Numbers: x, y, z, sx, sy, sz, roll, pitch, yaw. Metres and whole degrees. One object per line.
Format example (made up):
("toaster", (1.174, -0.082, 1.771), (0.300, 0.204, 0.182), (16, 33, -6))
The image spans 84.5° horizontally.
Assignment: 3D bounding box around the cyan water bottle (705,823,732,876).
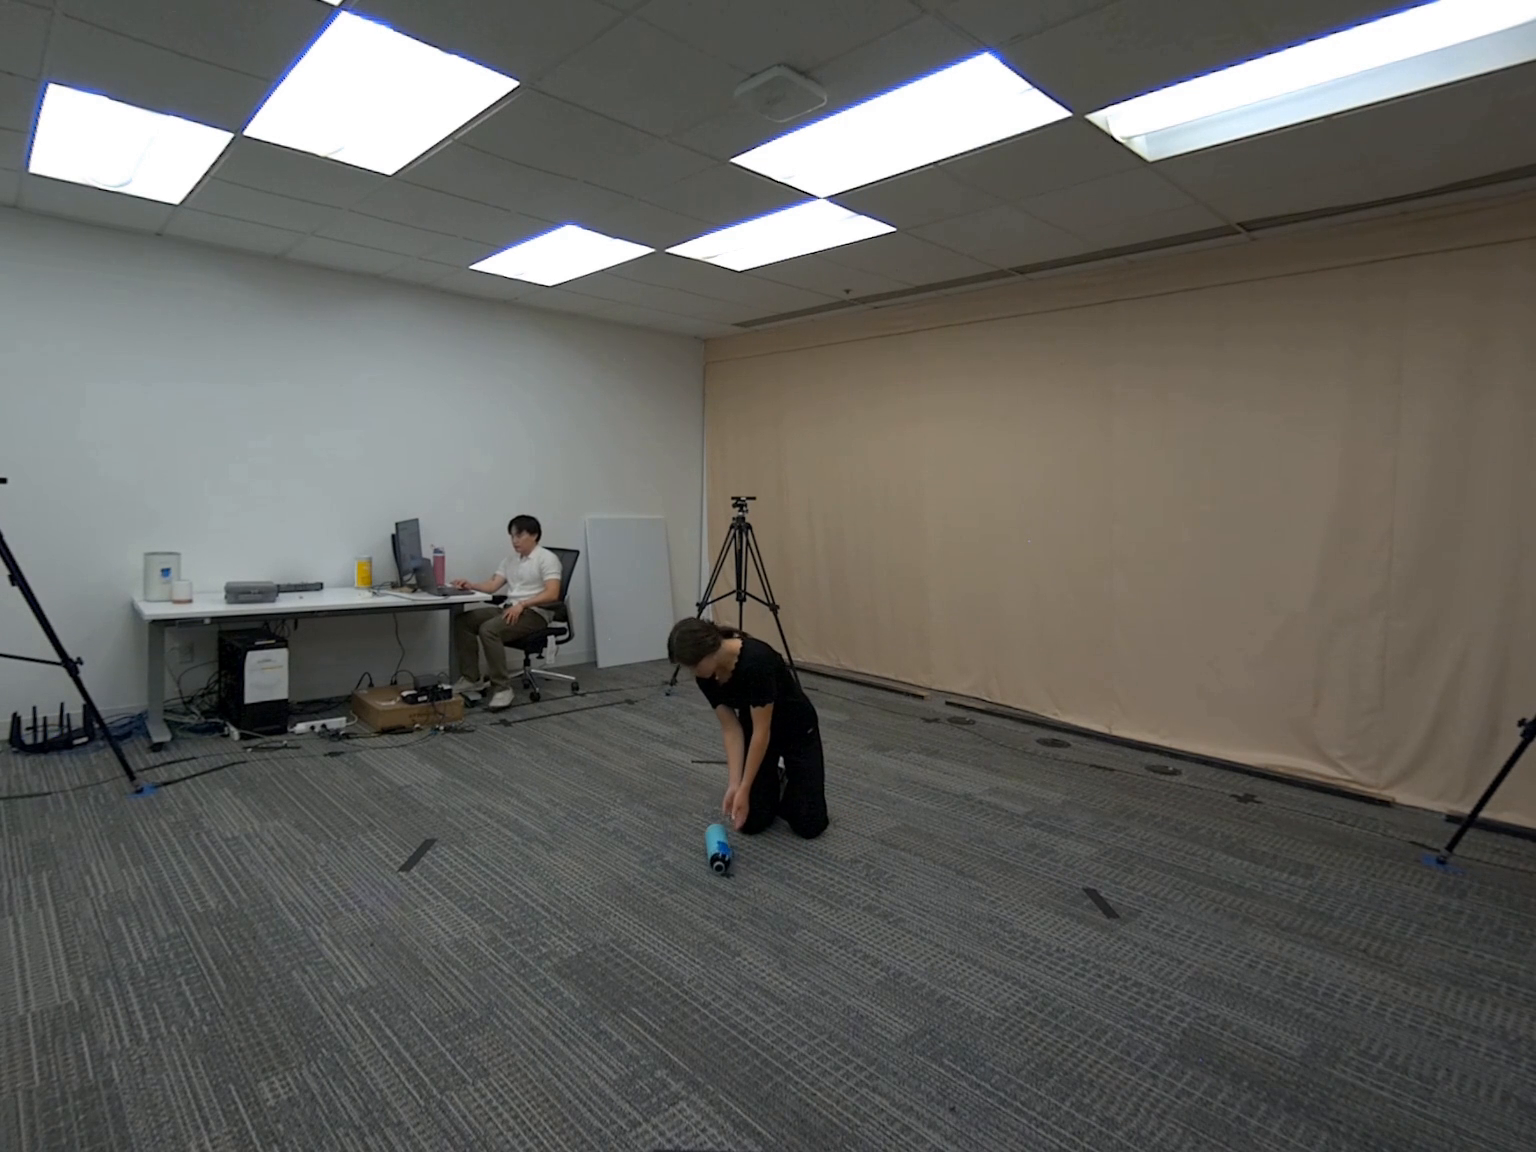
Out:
("cyan water bottle", (-0.197, 1.048, 3.230), (0.092, 0.092, 0.285), (1, 4, -5))
